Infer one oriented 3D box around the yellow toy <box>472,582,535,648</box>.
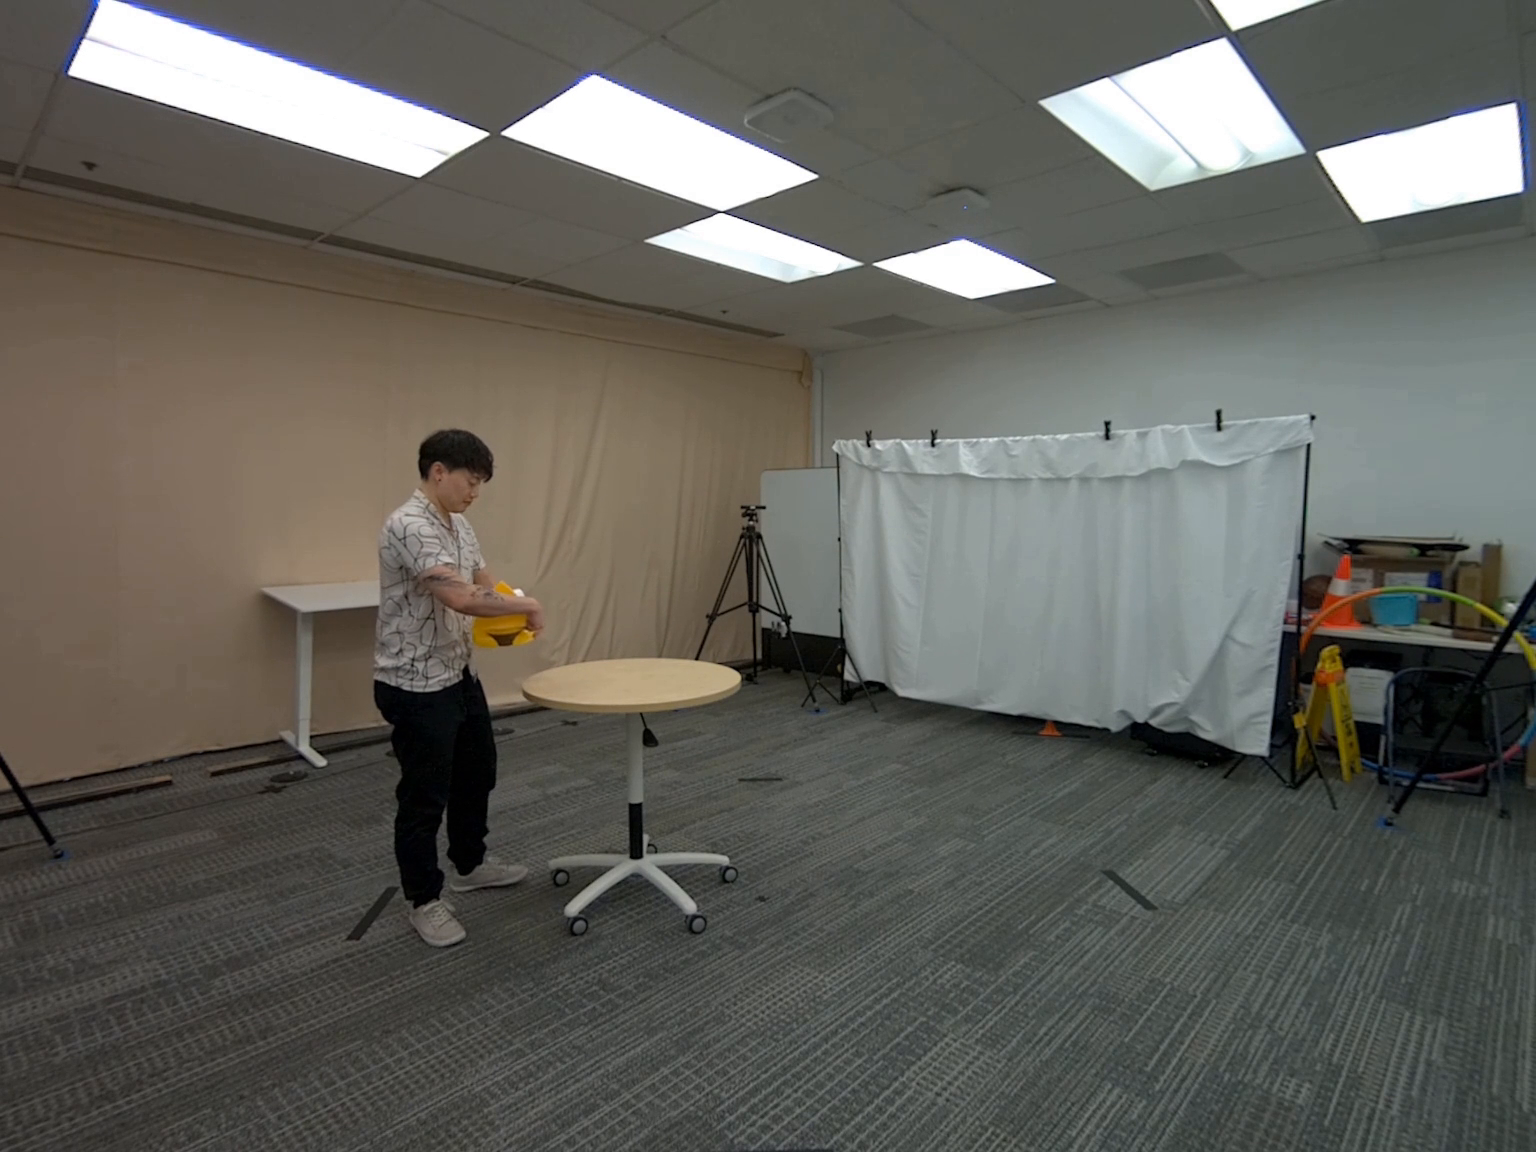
[{"bbox_3d":[-0.876,0.095,2.757,0.202,0.228,0.198,-4,24,-13],"label":"yellow toy"}]
